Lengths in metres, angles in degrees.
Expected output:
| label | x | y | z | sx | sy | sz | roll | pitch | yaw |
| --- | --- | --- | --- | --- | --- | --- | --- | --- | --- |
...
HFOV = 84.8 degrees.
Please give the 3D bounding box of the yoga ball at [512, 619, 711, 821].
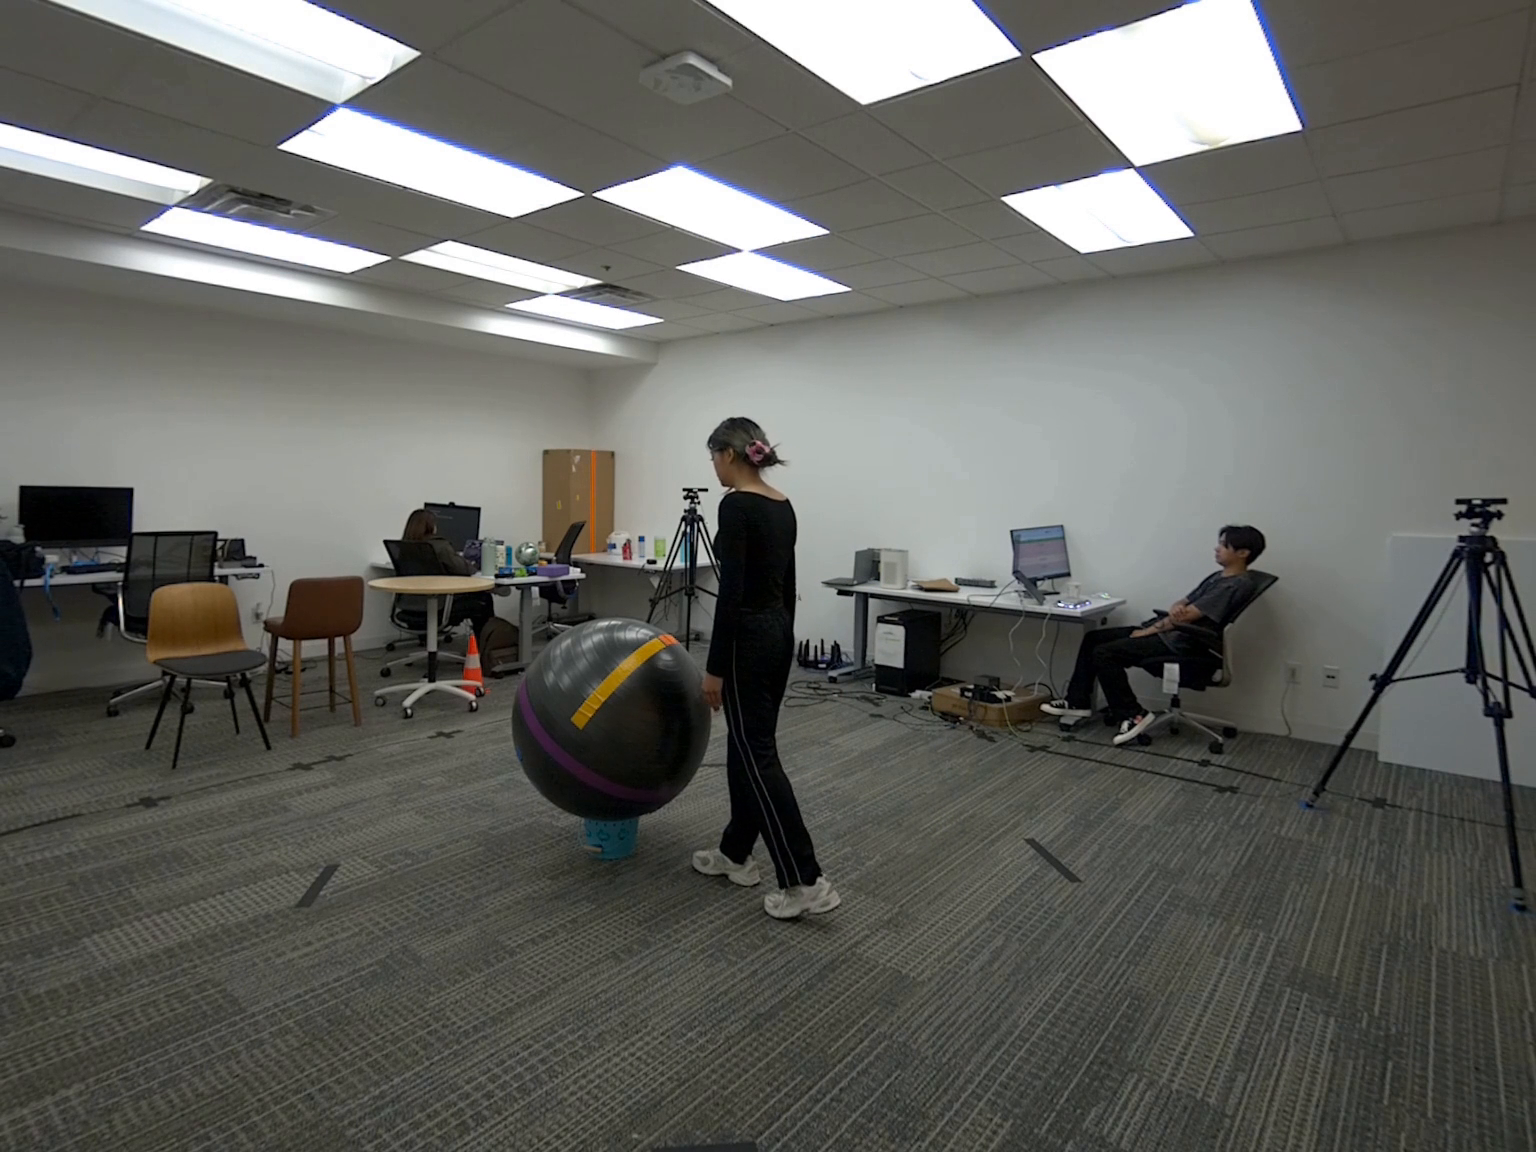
| label | x | y | z | sx | sy | sz | roll | pitch | yaw |
| --- | --- | --- | --- | --- | --- | --- | --- | --- | --- |
| yoga ball | -0.607 | 0.545 | 3.252 | 0.757 | 0.755 | 0.762 | 1 | 4 | -2 |
